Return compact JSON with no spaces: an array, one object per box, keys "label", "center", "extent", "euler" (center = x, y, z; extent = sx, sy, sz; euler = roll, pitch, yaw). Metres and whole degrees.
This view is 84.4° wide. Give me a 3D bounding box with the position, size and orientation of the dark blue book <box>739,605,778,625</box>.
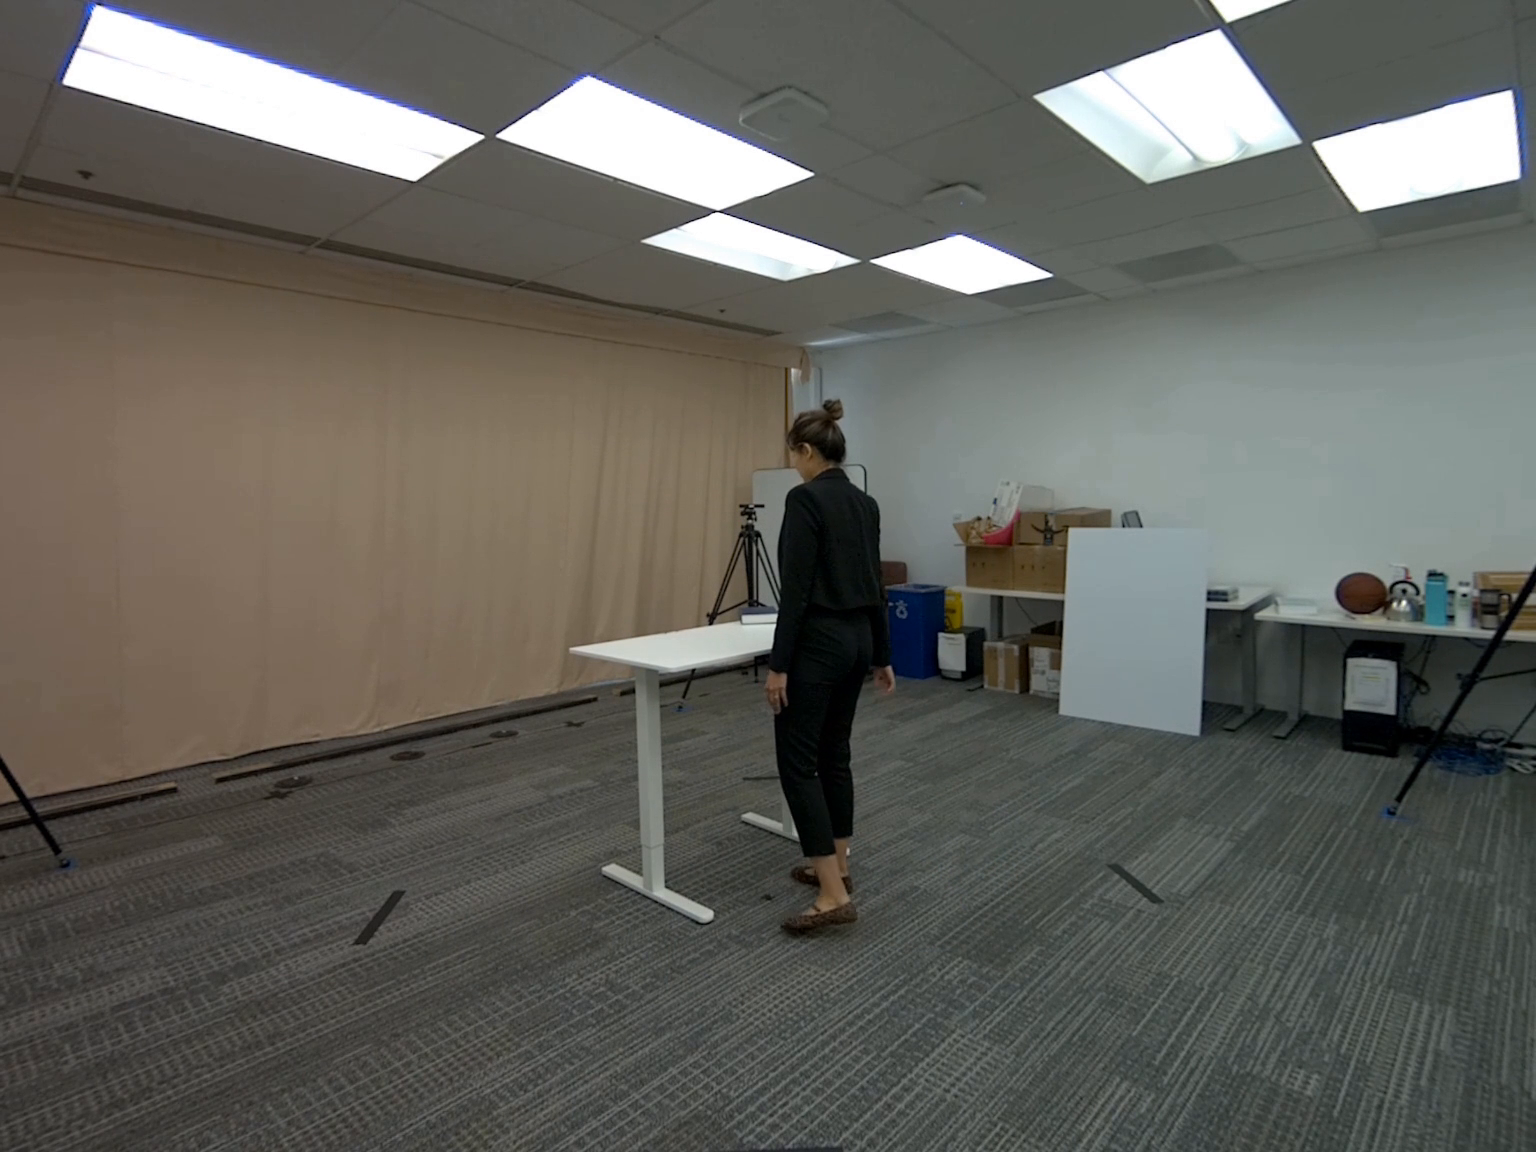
[{"label":"dark blue book","center":[-0.046,0.172,3.711],"extent":[0.163,0.045,0.246],"euler":[-2,5,-4]}]
